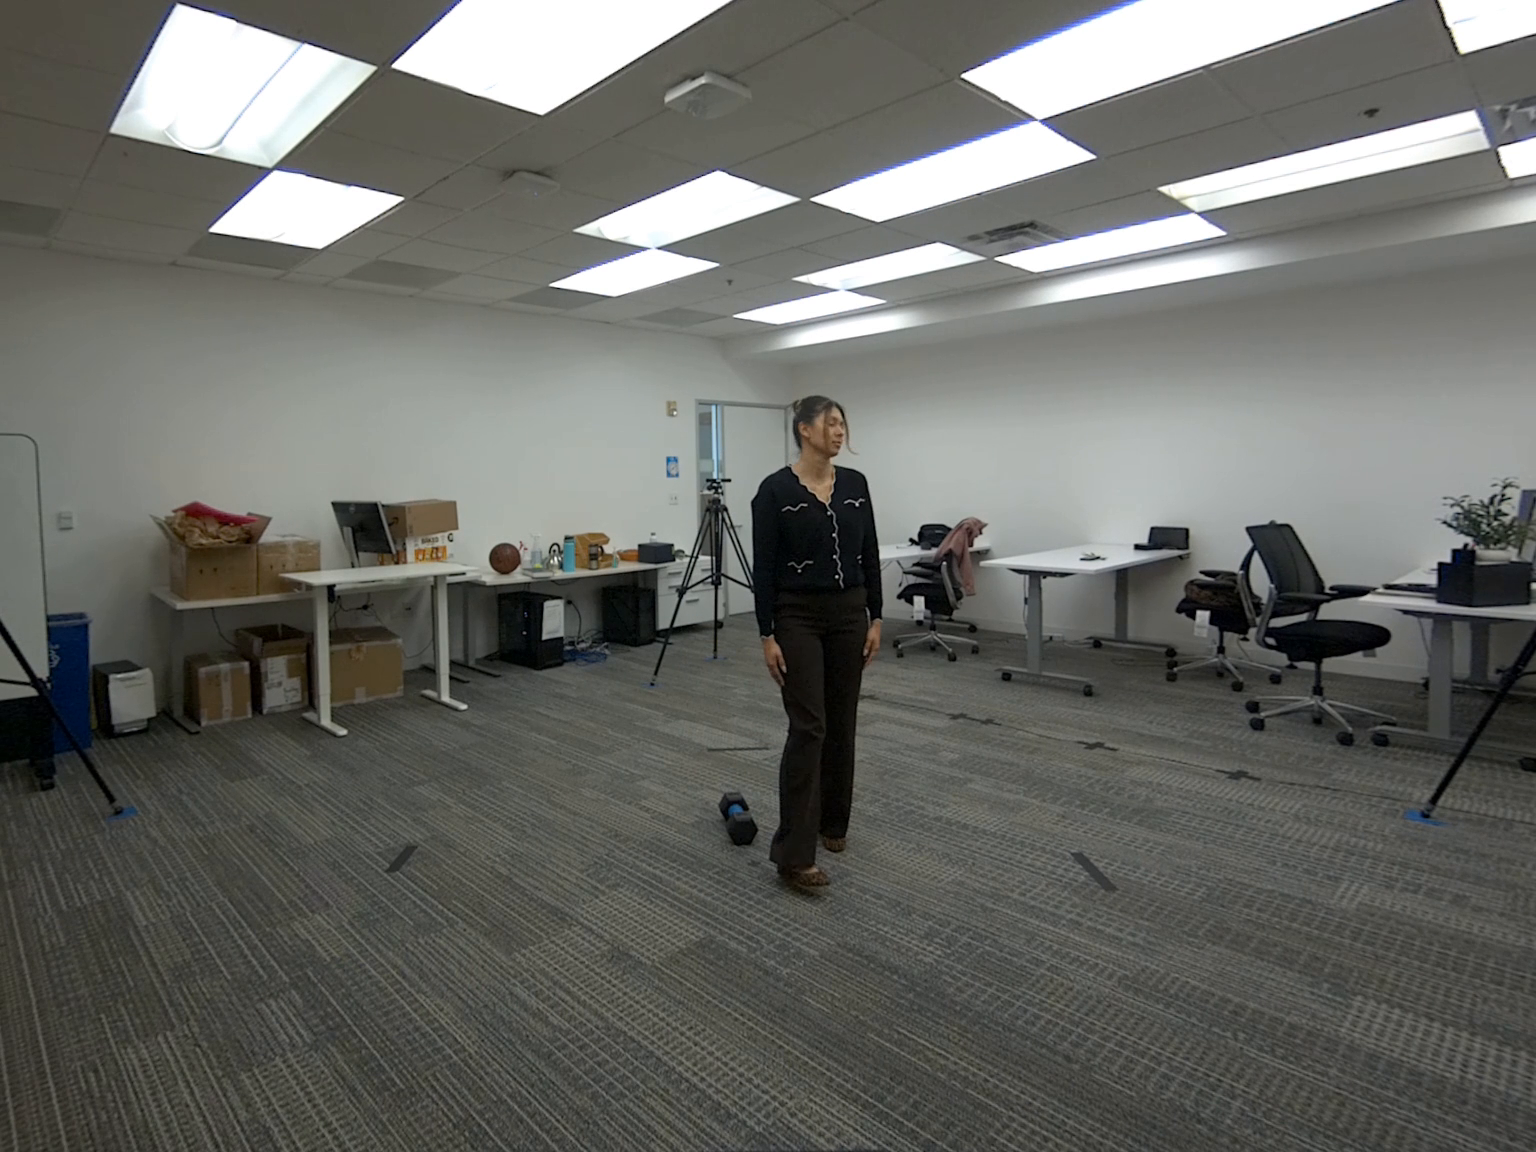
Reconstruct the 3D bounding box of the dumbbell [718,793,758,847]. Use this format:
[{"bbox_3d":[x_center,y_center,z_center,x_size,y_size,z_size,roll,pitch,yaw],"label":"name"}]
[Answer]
[{"bbox_3d":[-0.118,0.961,3.397,0.108,0.122,0.297,-31,10,-5],"label":"dumbbell"}]
